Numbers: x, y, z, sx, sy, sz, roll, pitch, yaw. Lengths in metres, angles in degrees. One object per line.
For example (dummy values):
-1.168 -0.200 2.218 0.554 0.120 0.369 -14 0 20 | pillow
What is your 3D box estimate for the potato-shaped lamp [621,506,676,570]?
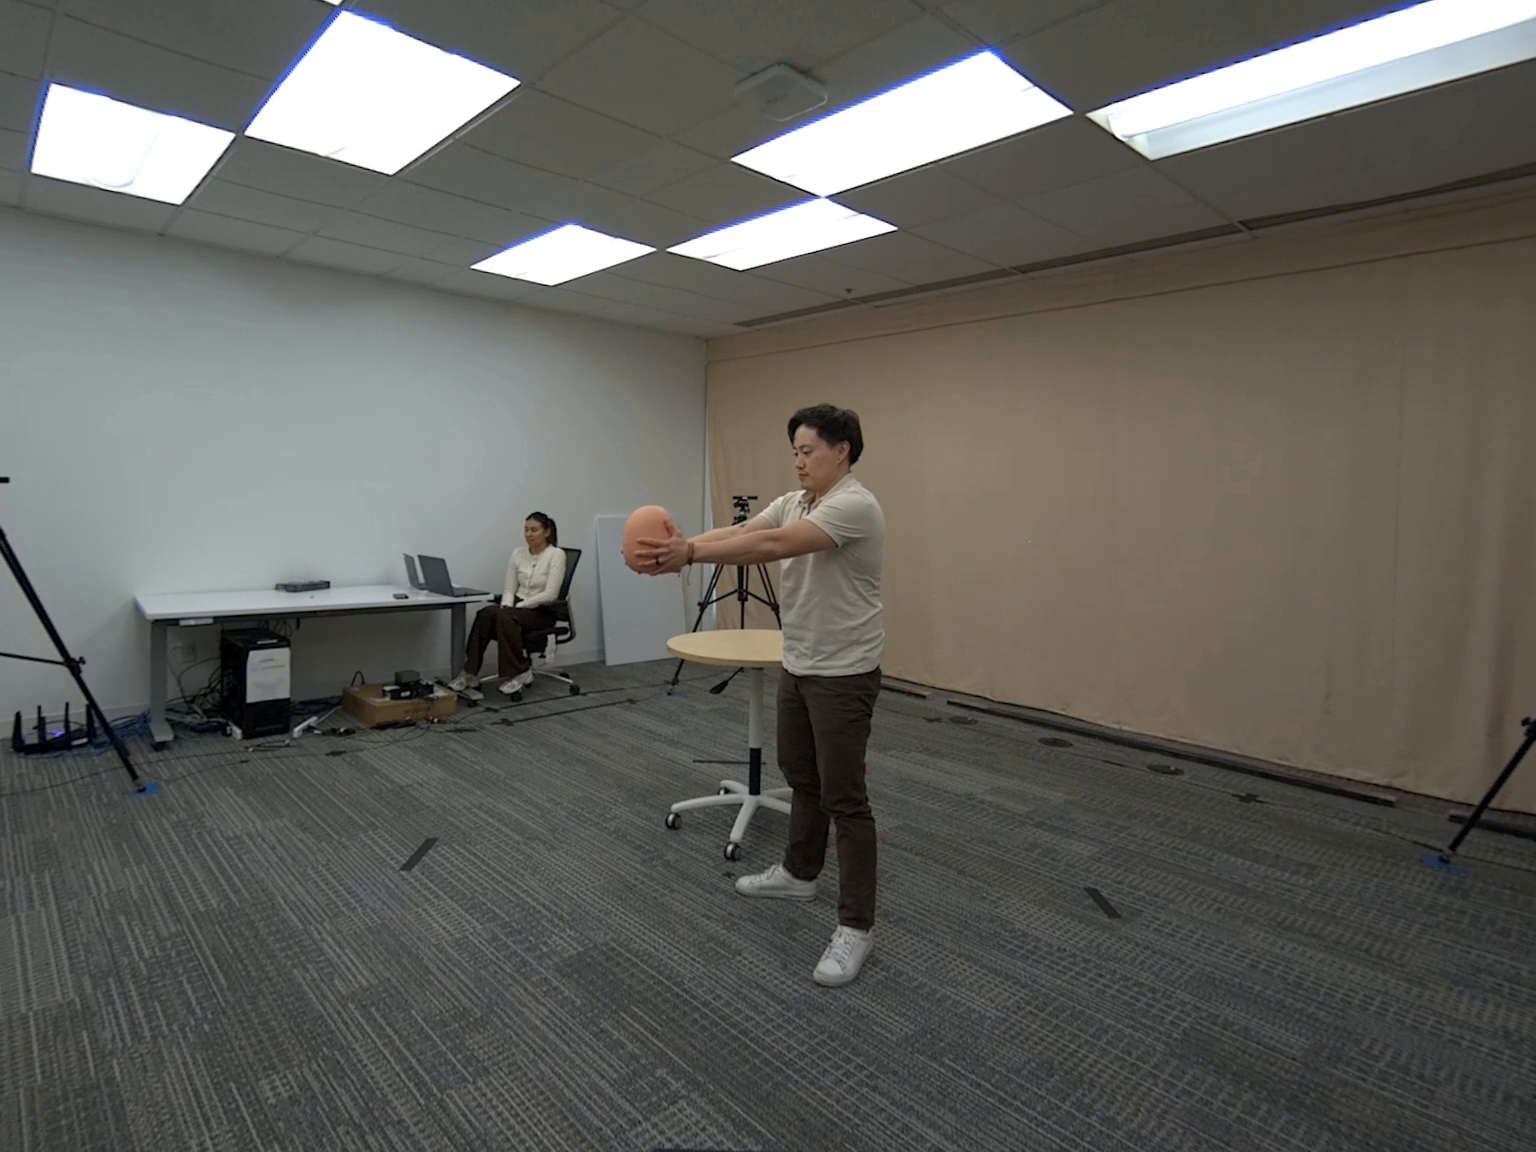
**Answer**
-0.334 -0.105 2.449 0.168 0.198 0.167 -5 0 -27 | potato-shaped lamp
